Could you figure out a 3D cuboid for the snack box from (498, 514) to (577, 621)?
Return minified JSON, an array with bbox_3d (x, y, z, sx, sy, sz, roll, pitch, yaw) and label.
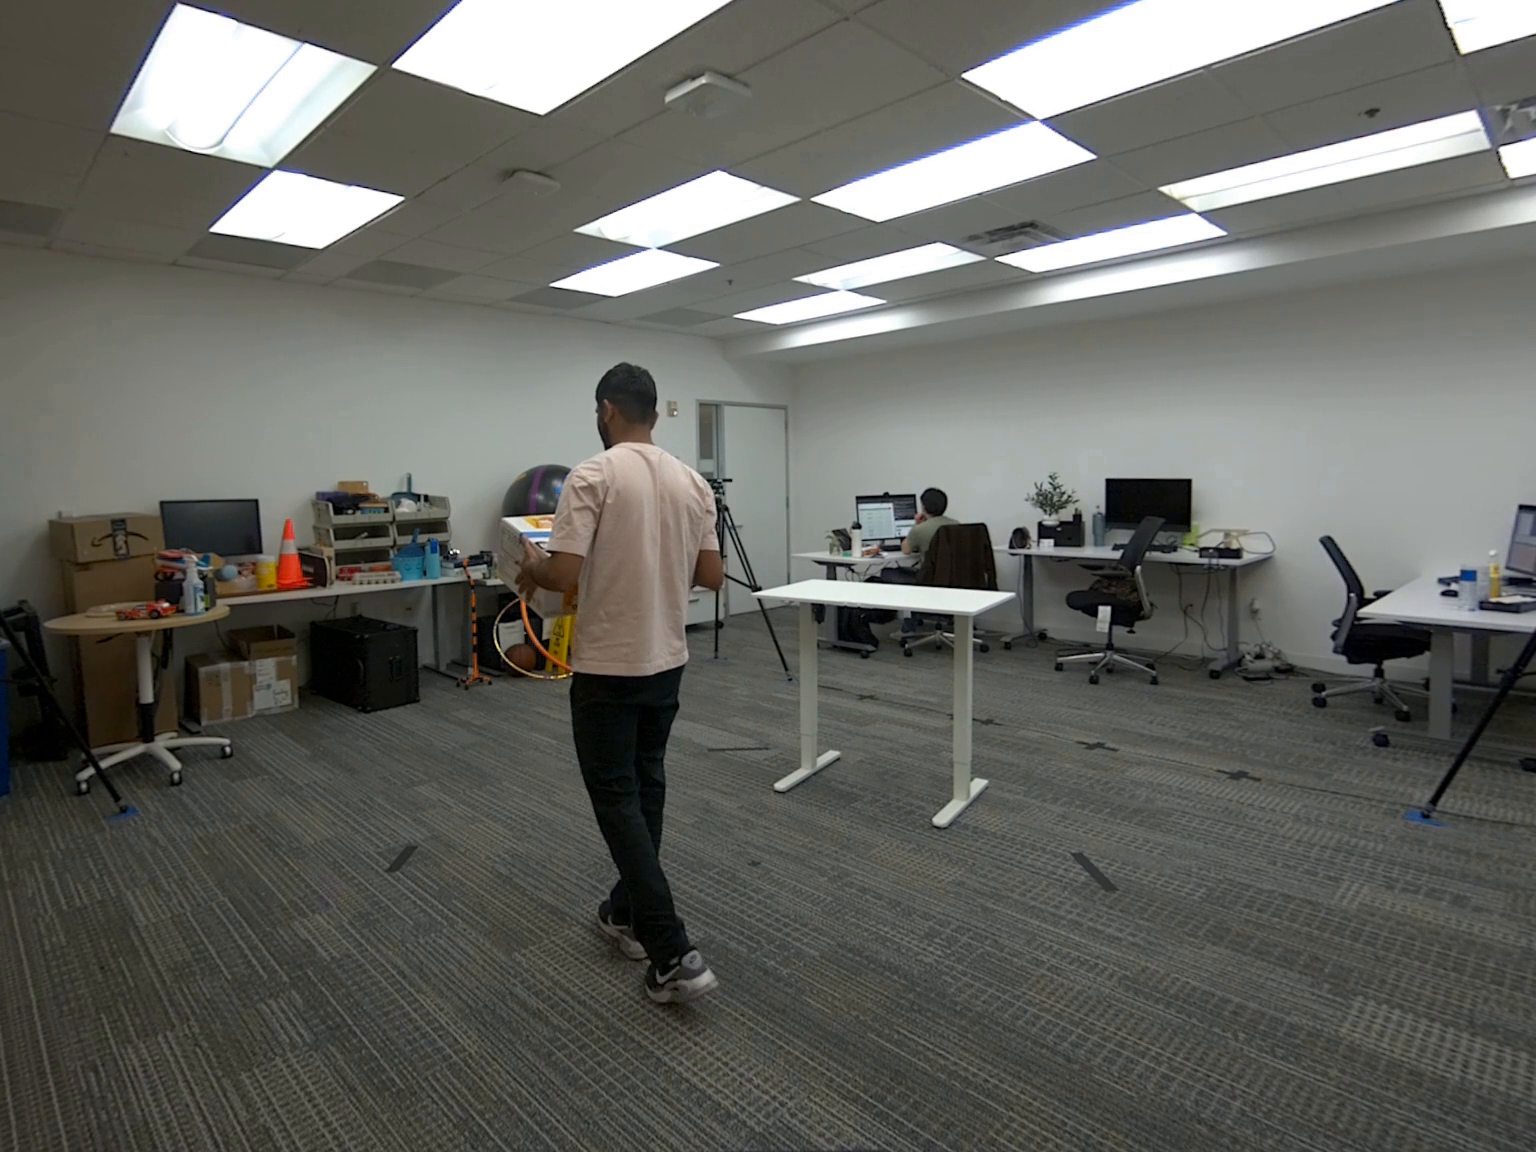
[{"bbox_3d":[-0.590,-0.050,2.718,0.395,0.203,0.353,-8,25,-39],"label":"snack box"}]
